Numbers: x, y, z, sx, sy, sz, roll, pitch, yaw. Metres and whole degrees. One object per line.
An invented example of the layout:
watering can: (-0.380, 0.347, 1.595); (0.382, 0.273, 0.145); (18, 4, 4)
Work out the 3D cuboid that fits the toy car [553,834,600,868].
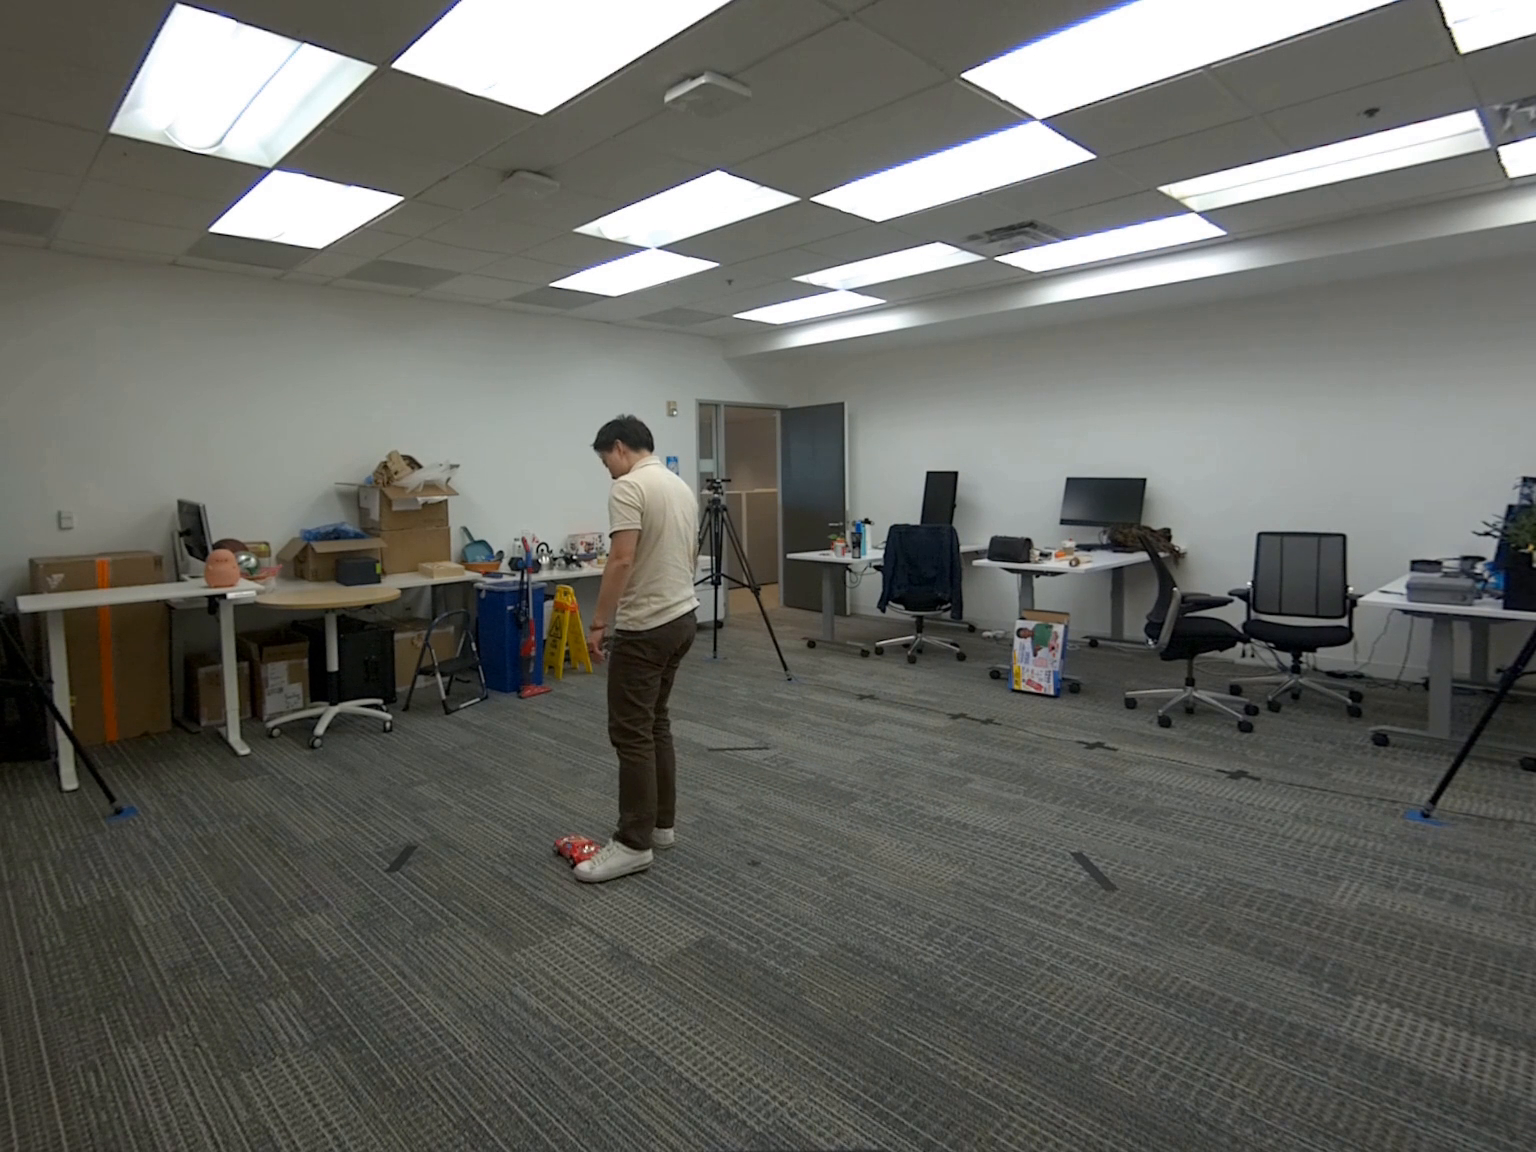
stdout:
toy car: (-0.699, 1.018, 3.161); (0.127, 0.083, 0.260); (-7, -2, -35)
